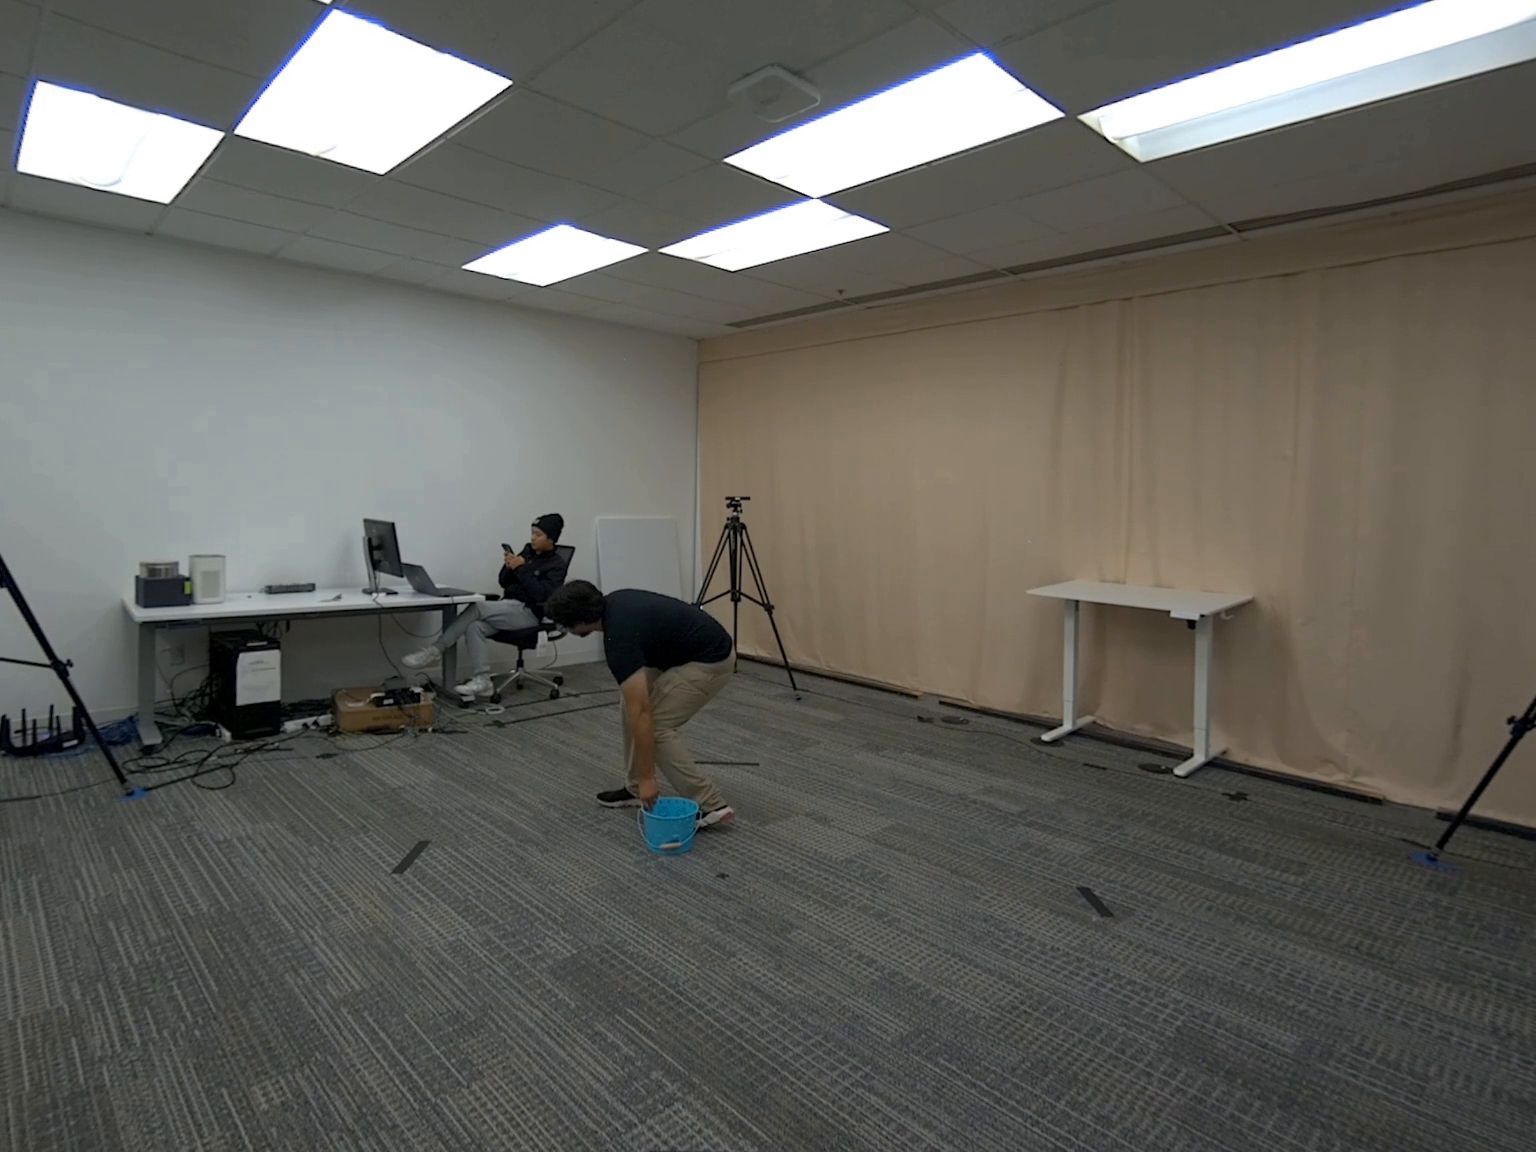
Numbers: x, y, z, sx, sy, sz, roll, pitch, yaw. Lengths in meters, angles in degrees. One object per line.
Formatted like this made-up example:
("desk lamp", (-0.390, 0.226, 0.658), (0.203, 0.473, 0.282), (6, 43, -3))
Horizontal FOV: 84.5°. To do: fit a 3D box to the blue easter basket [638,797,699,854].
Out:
("blue easter basket", (-0.415, 1.003, 3.369), (0.243, 0.155, 0.244), (1, 5, -1))
